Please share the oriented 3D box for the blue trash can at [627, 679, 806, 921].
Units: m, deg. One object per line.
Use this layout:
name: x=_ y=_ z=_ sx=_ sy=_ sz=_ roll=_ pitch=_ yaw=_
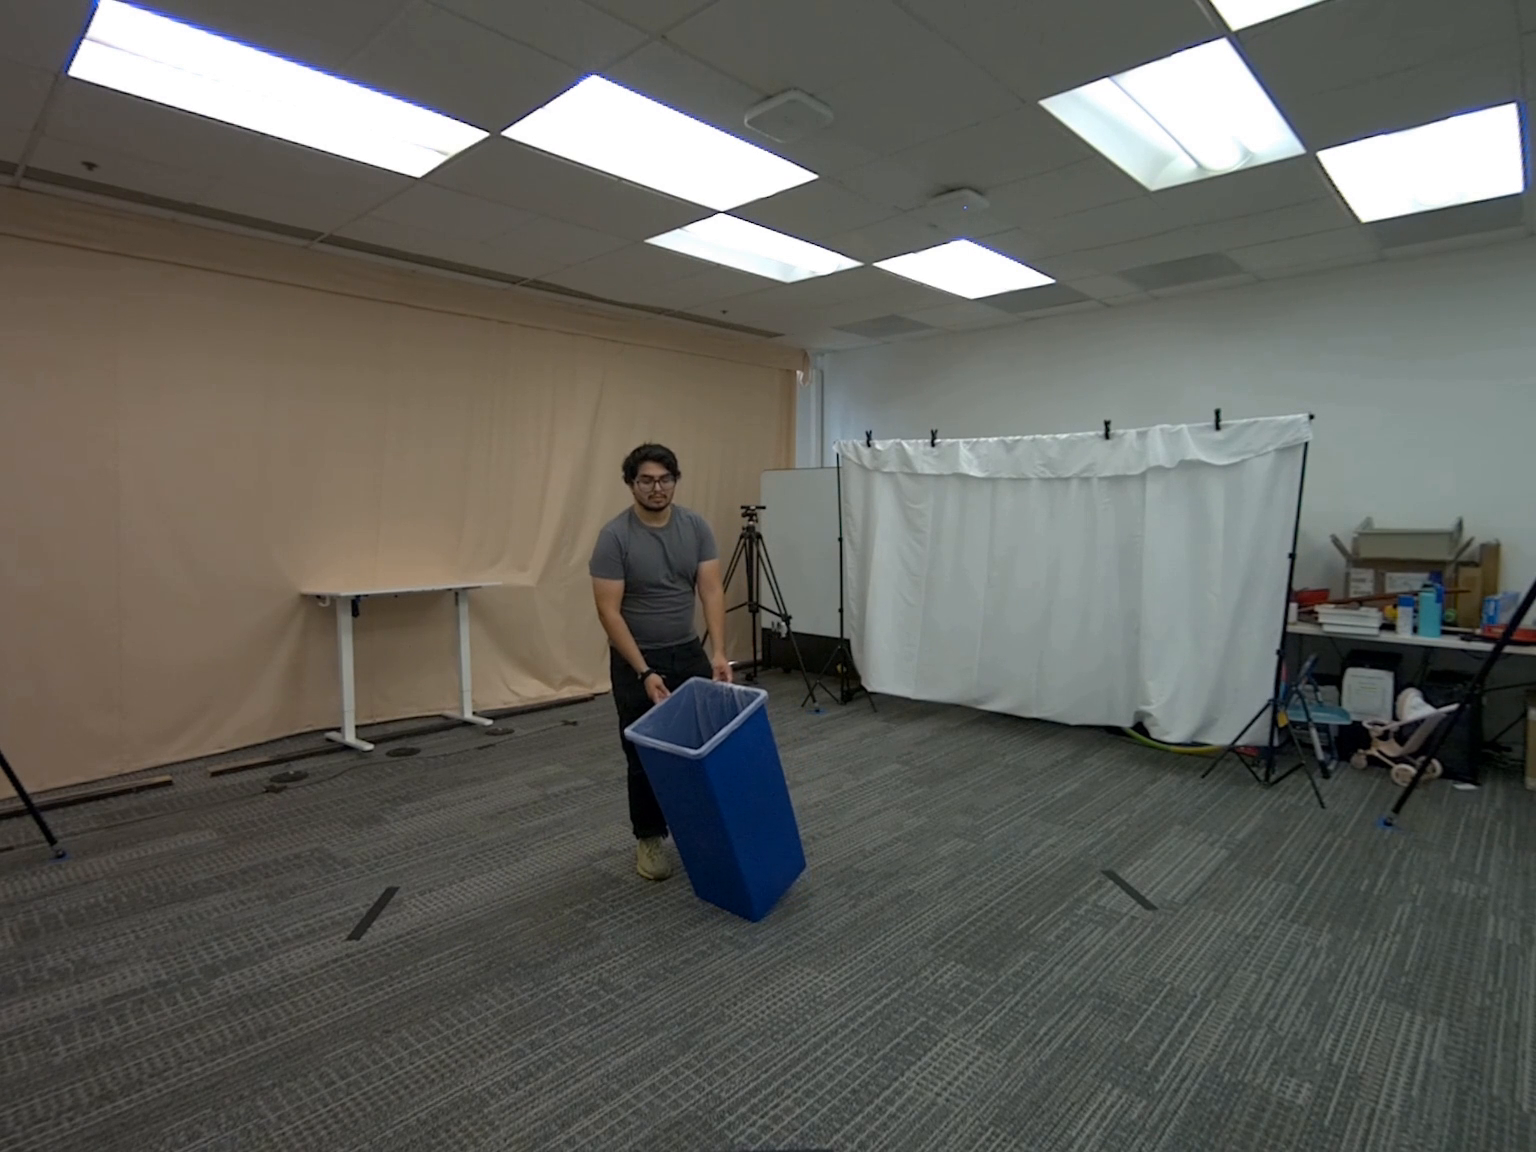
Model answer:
blue trash can: x=-0.139 y=0.767 z=2.887 sx=0.386 sy=0.702 sz=0.372 roll=1 pitch=26 yaw=42
